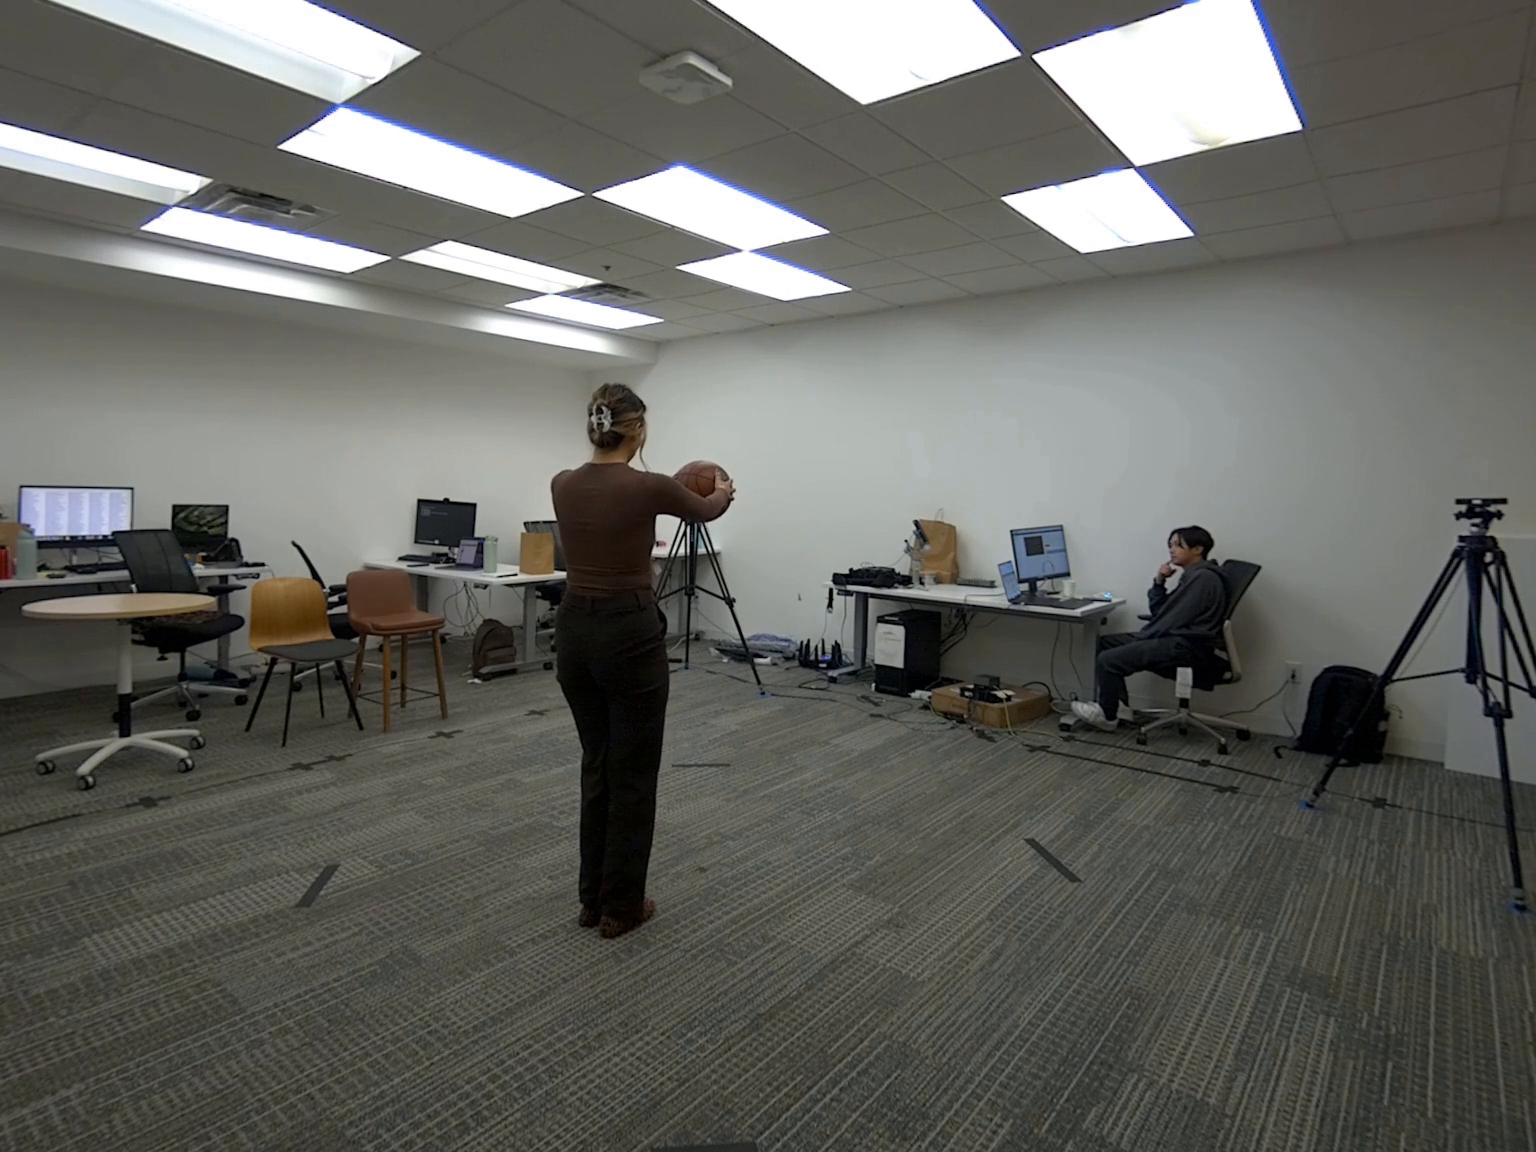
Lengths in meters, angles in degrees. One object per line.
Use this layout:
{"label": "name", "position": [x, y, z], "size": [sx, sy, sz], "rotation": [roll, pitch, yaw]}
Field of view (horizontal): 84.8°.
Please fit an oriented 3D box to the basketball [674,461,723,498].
{"label": "basketball", "position": [-0.261, -0.321, 3.254], "size": [0.235, 0.235, 0.237], "rotation": [1, 4, -2]}
